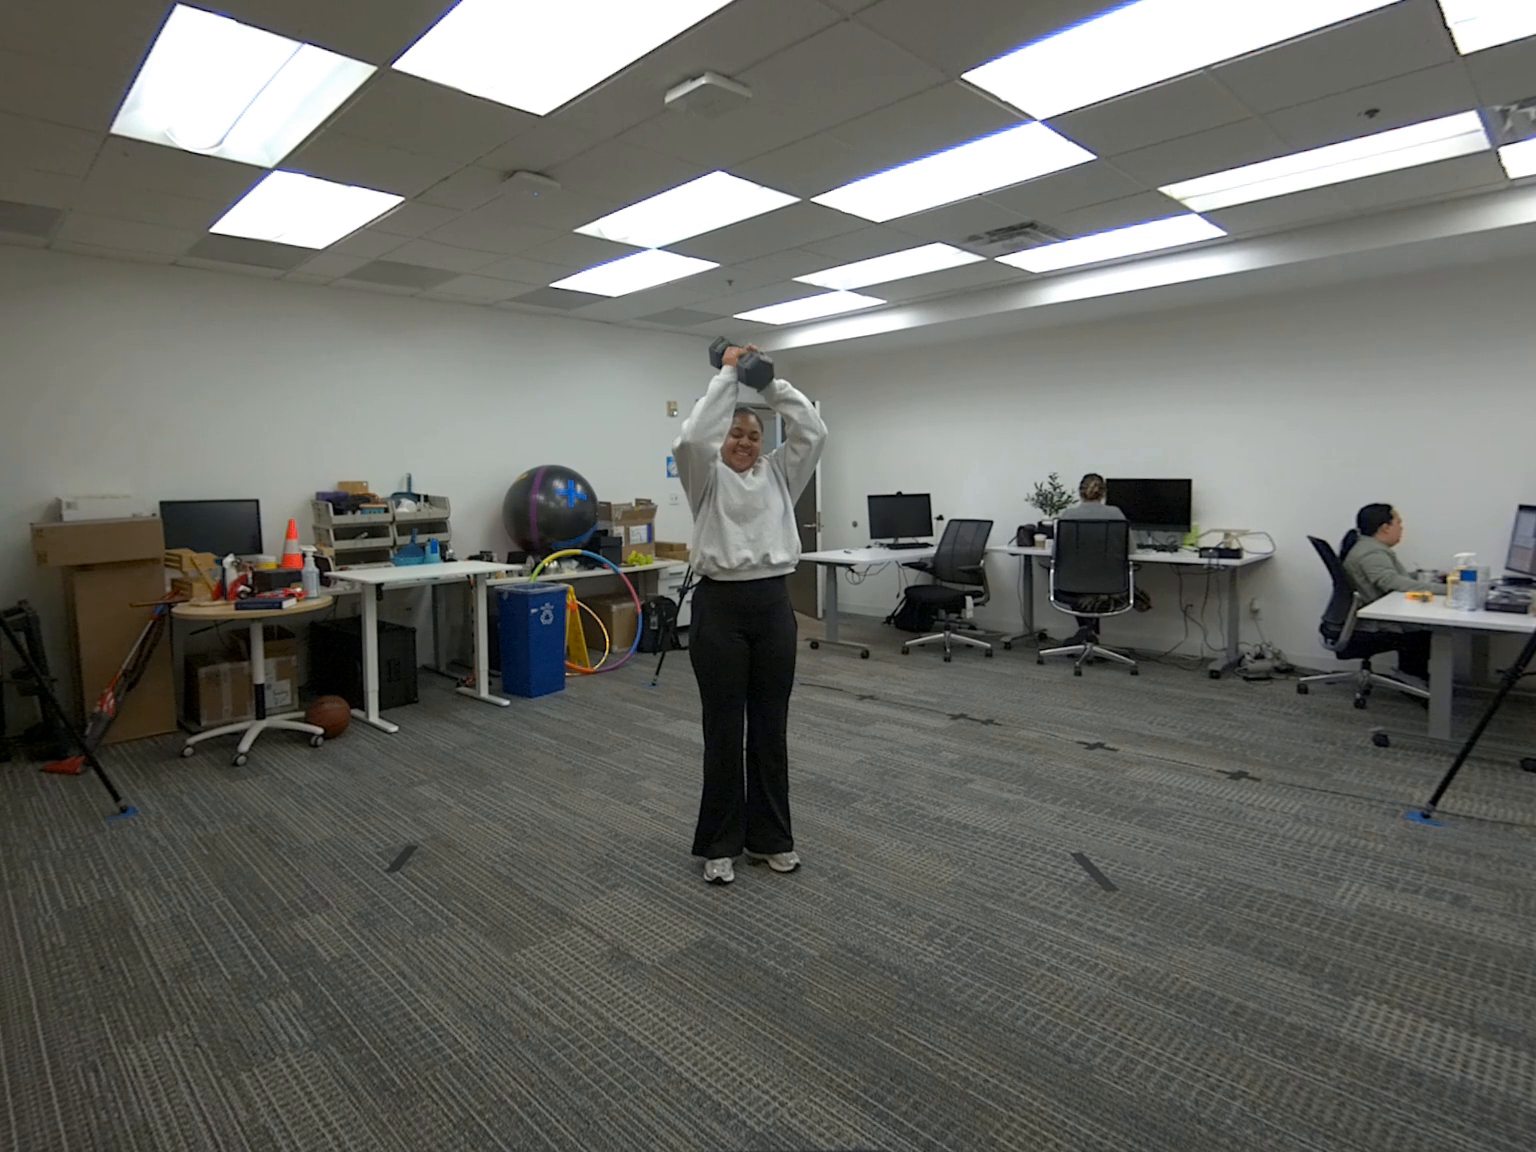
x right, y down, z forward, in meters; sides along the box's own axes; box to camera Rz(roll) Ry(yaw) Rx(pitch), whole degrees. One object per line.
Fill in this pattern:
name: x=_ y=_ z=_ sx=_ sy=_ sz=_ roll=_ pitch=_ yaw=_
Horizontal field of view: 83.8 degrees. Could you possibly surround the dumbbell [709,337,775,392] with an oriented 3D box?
dumbbell: x=-0.091 y=-0.708 z=2.895 sx=0.105 sy=0.123 sz=0.305 roll=47 pitch=-2 yaw=-37
